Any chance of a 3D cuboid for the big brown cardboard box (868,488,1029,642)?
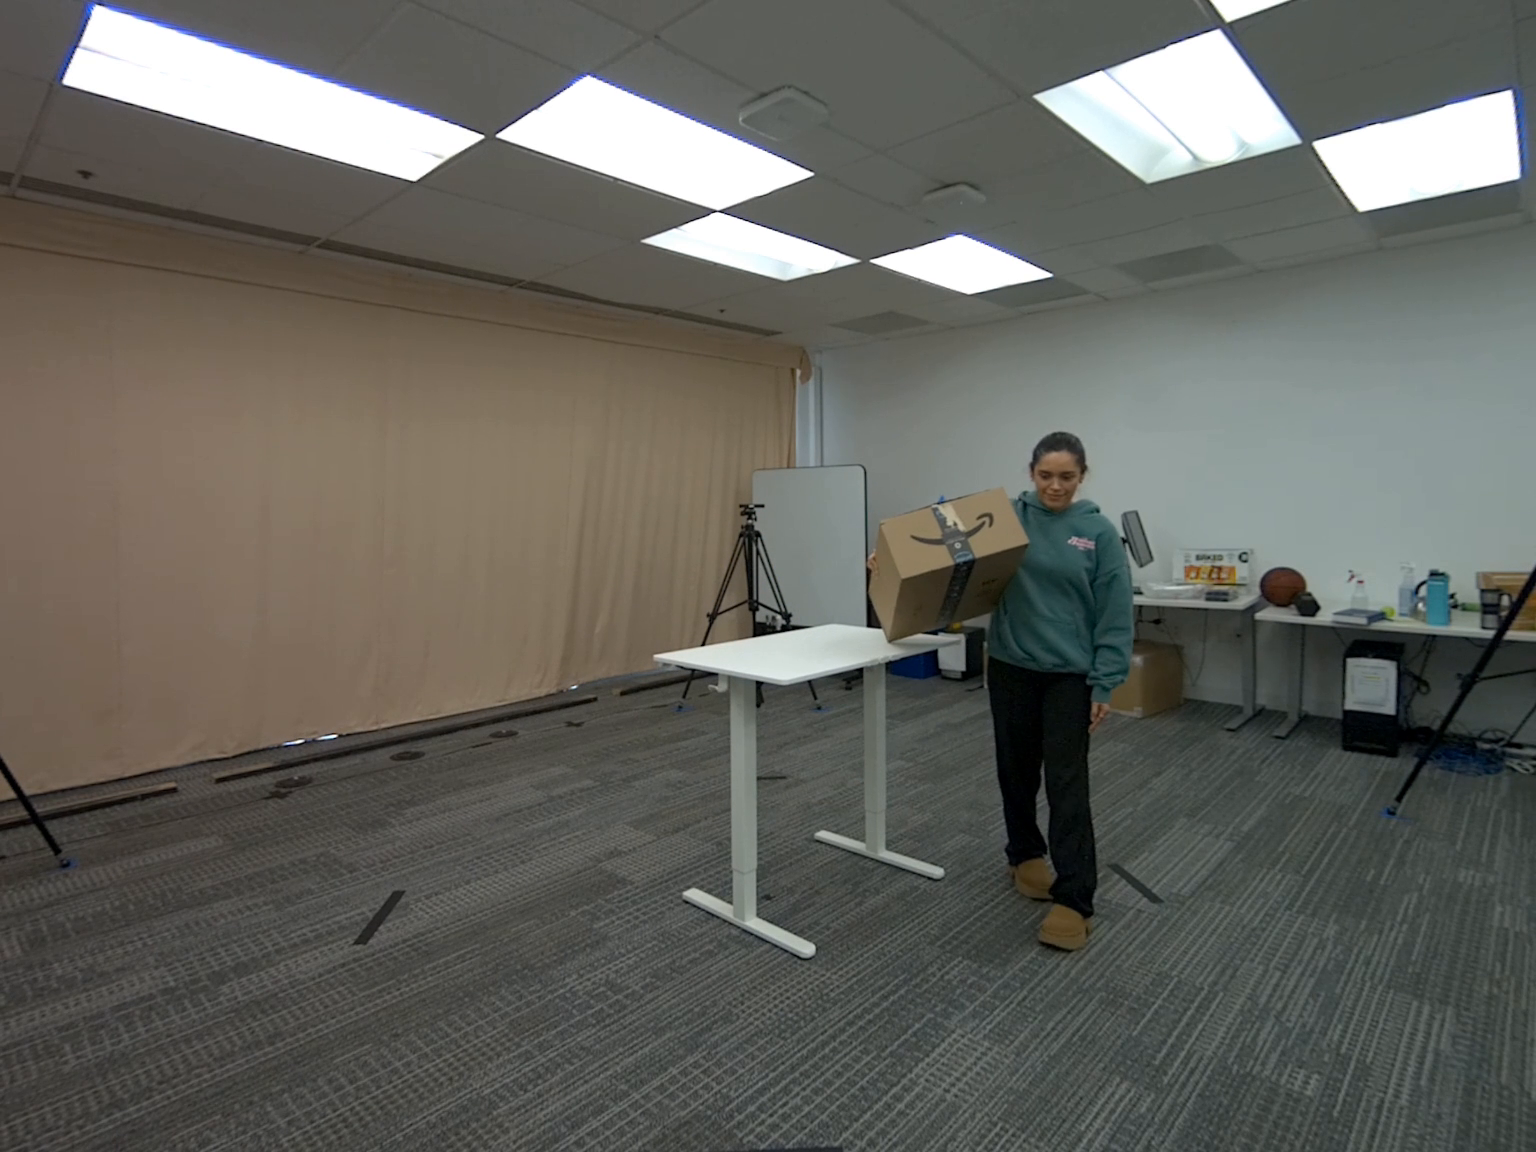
[{"bbox_3d":[0.598,-0.022,2.882,0.416,0.238,0.578,-15,-24,-4],"label":"big brown cardboard box"}]
